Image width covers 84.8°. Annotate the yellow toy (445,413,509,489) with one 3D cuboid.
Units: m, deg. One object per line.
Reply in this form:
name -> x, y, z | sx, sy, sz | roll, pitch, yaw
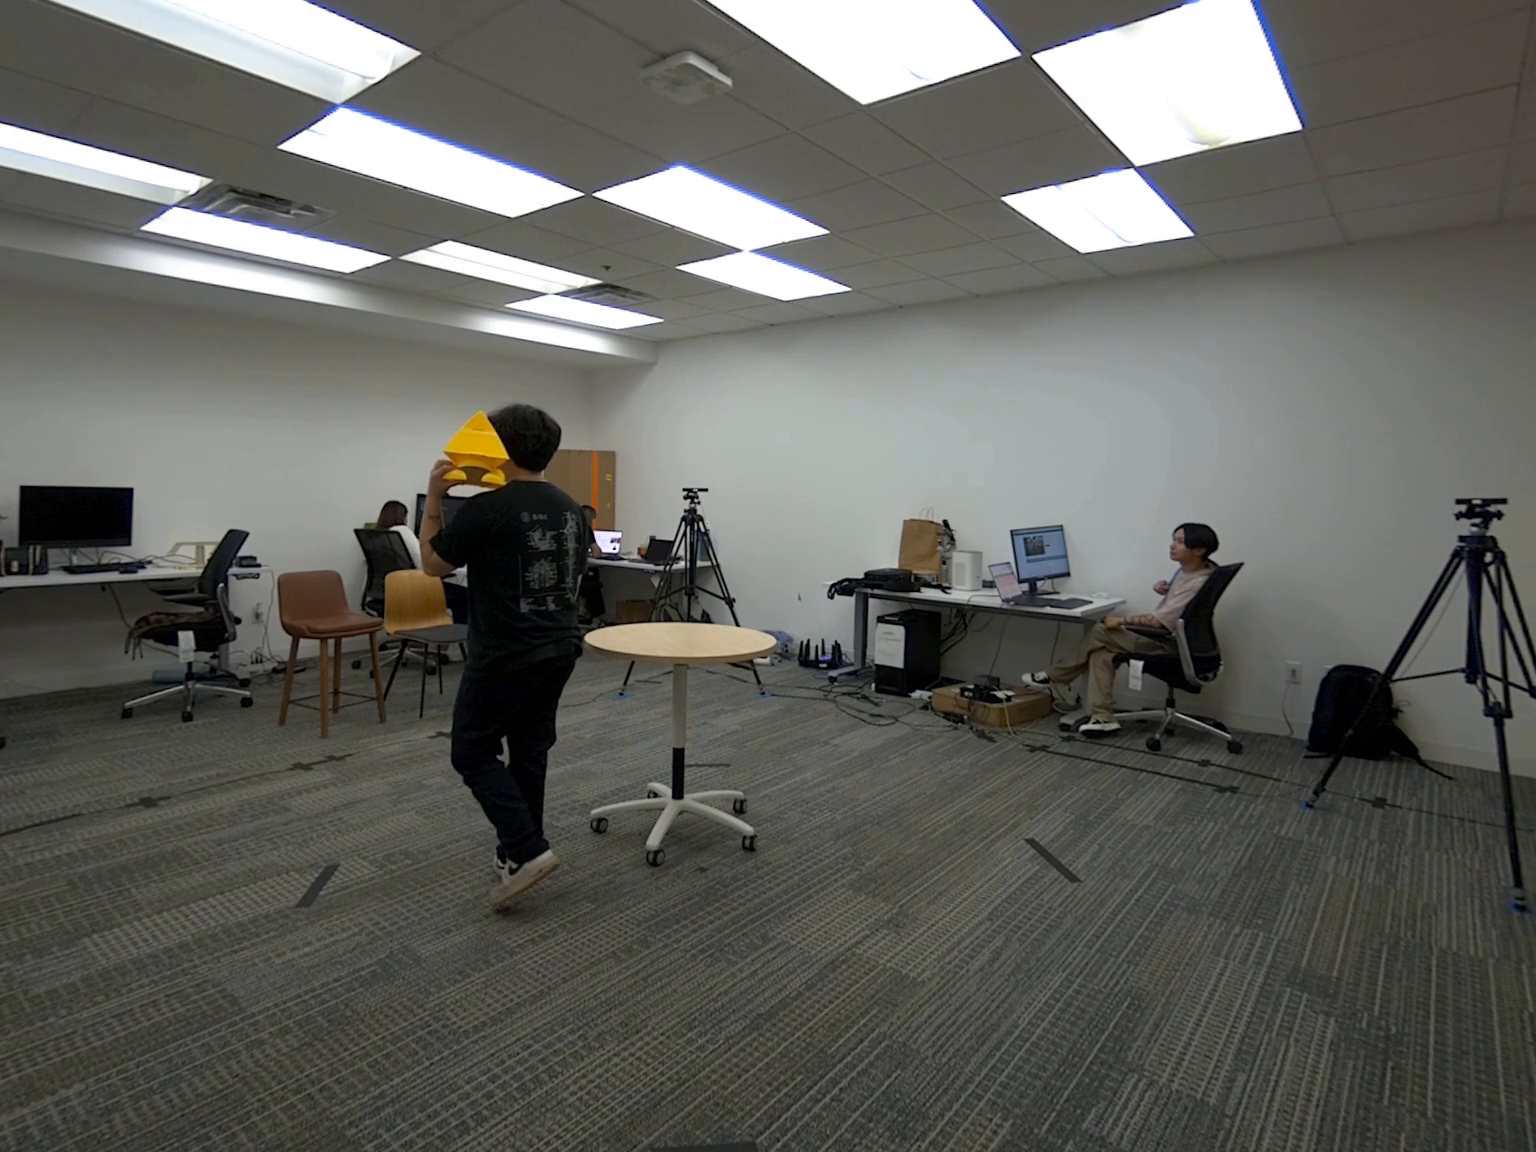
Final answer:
yellow toy -> -0.972, -0.420, 2.793 | 0.200, 0.232, 0.196 | 6, -6, -20
